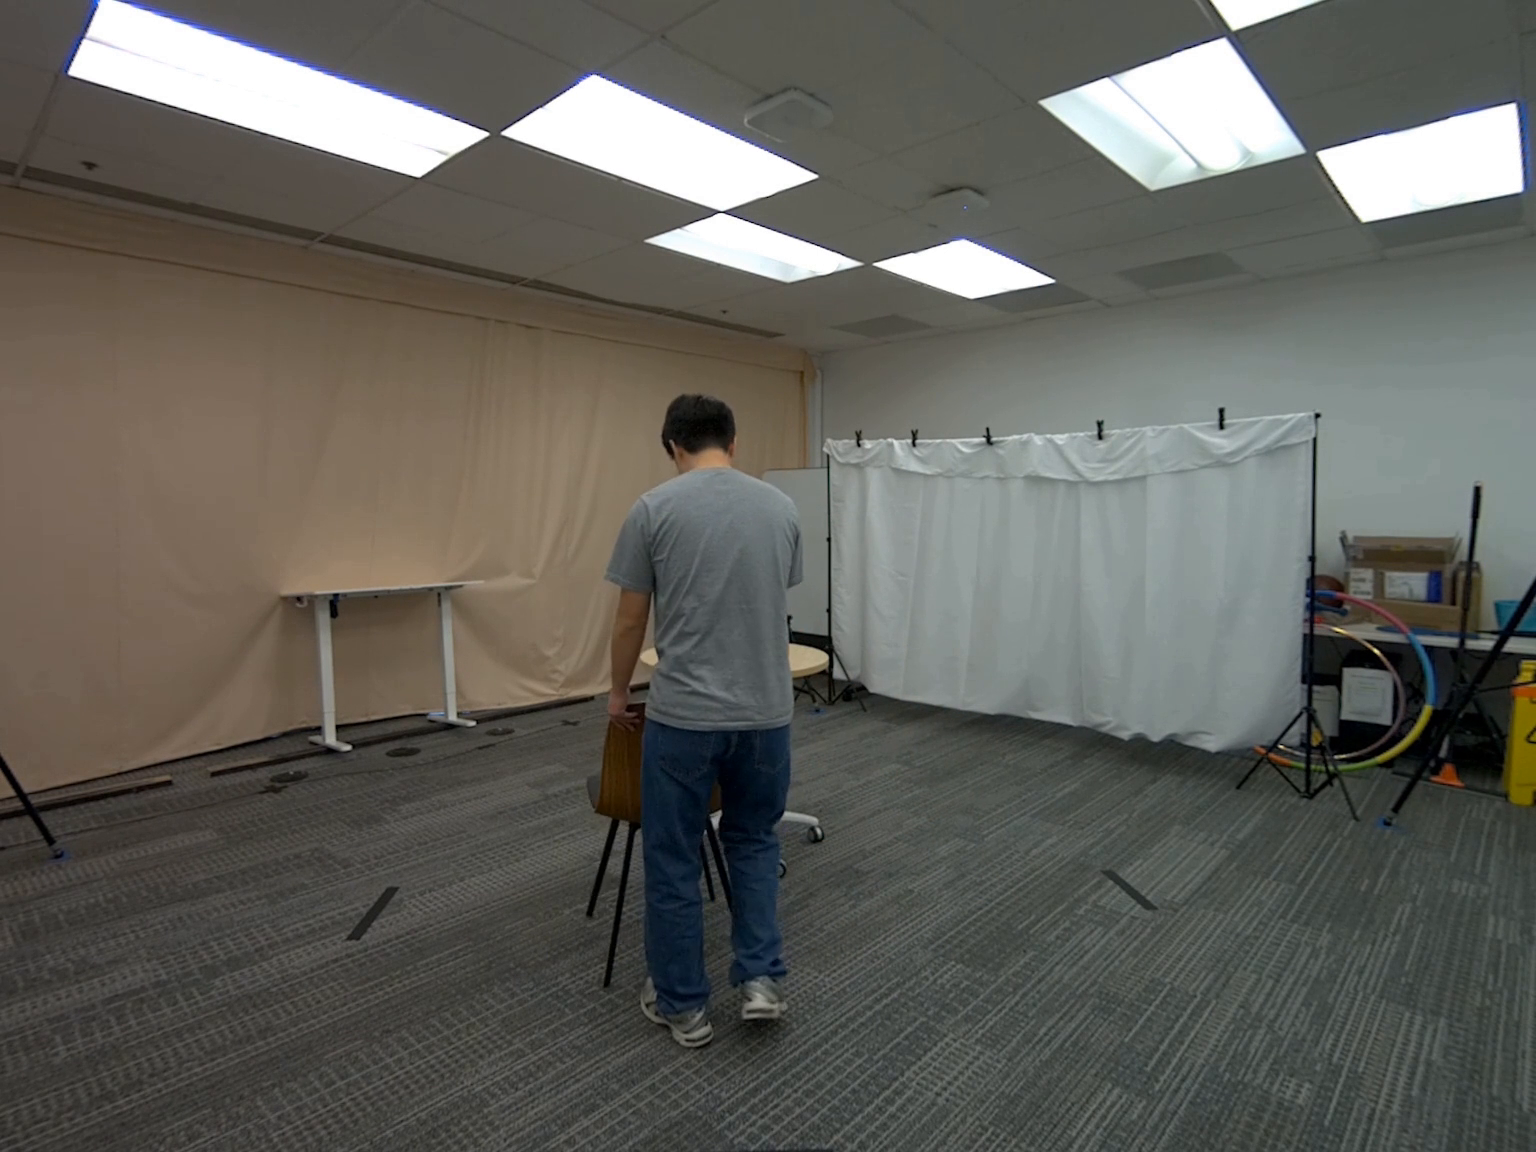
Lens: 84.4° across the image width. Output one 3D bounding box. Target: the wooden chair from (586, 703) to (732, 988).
[{"bbox_3d":[-0.335,0.742,2.678,0.470,0.873,0.534,-2,8,-17],"label":"wooden chair"}]
